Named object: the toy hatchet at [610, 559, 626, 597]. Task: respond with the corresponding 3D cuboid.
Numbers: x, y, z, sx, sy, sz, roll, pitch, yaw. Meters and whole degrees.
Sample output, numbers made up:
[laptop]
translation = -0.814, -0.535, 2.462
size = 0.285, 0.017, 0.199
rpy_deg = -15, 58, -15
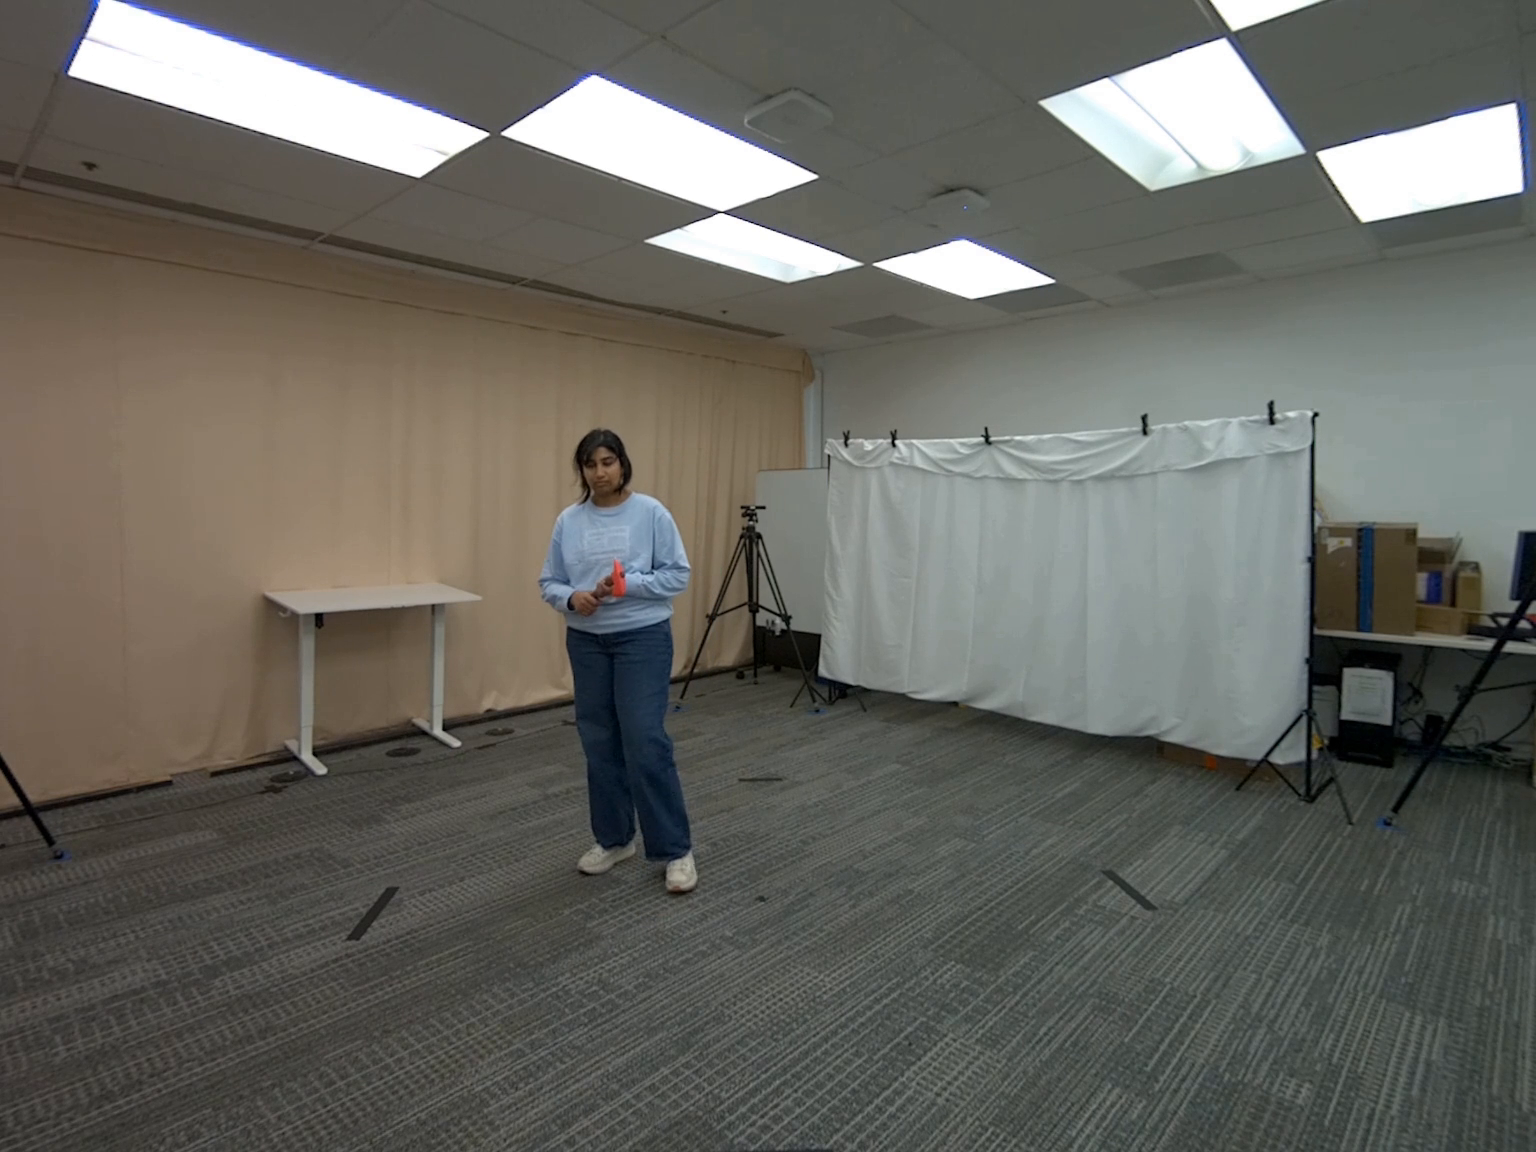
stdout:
[toy hatchet]
translation = -0.563, 0.068, 2.990
size = 0.029, 0.135, 0.271
rpy_deg = 0, -39, -39
